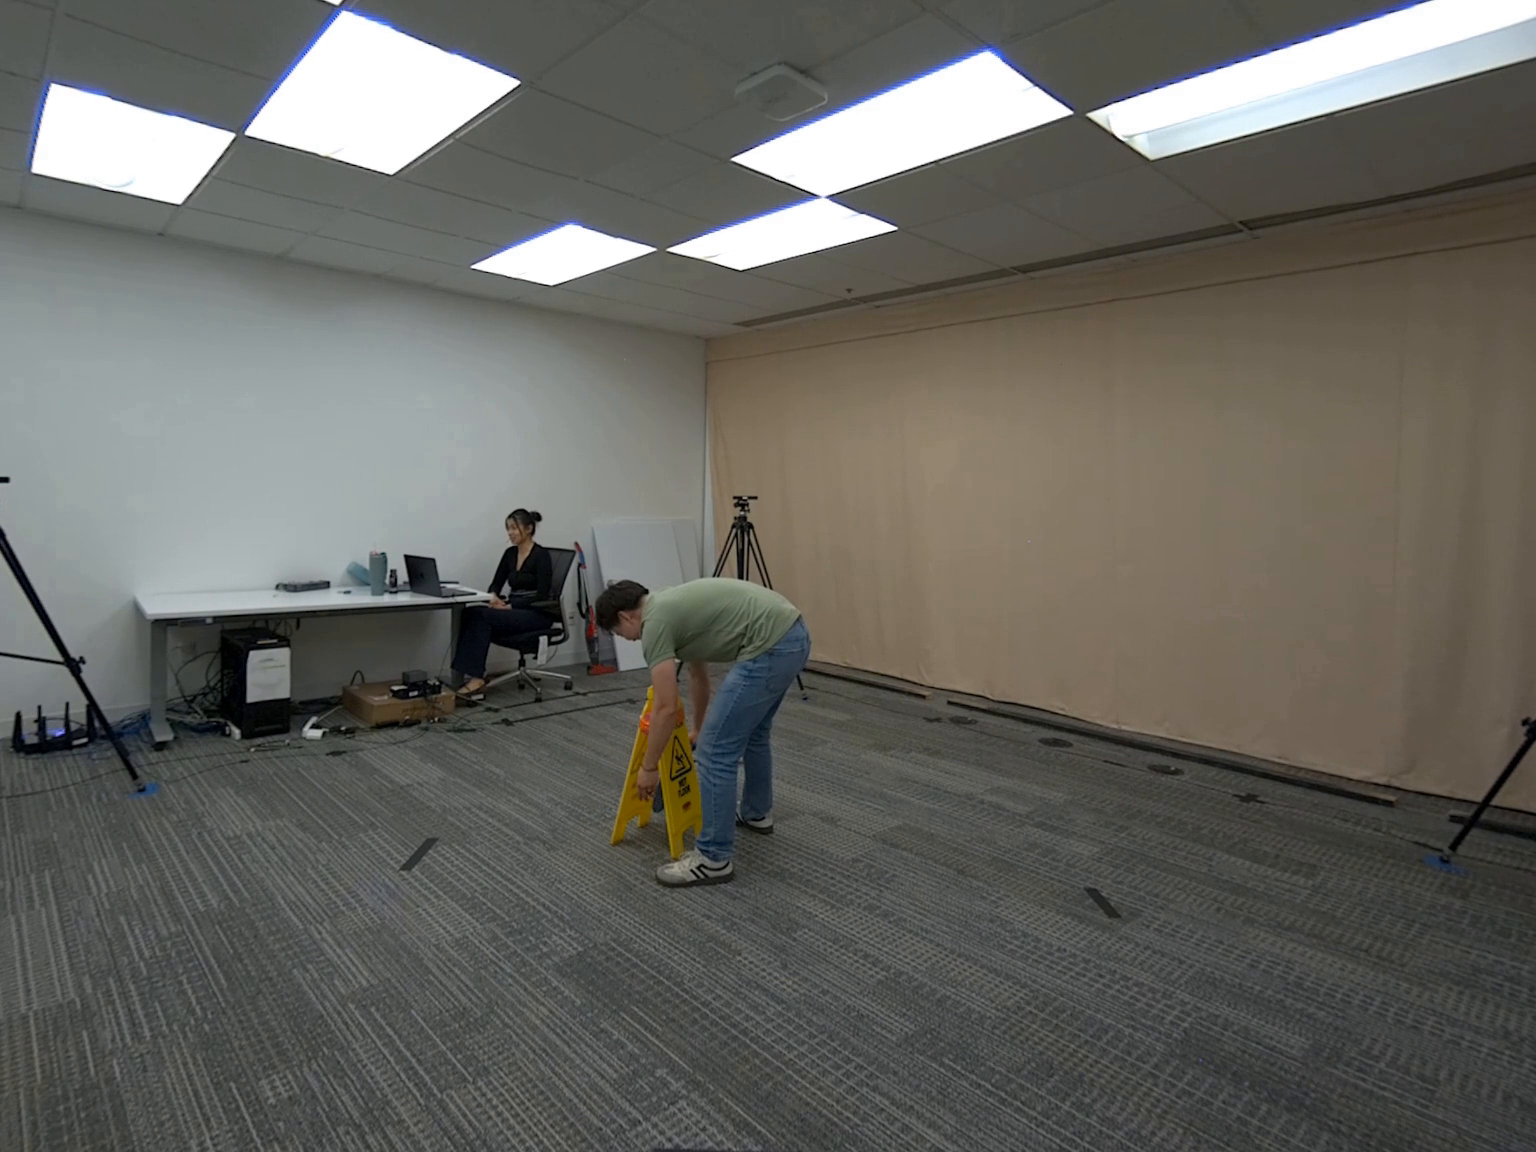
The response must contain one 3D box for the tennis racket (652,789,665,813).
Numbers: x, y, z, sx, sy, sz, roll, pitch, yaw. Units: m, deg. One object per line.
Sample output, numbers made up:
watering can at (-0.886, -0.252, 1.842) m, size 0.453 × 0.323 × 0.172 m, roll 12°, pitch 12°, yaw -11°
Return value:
tennis racket at (-0.379, 0.811, 3.481) m, size 0.032 × 0.210 × 0.434 m, roll 13°, pitch 29°, yaw 14°
